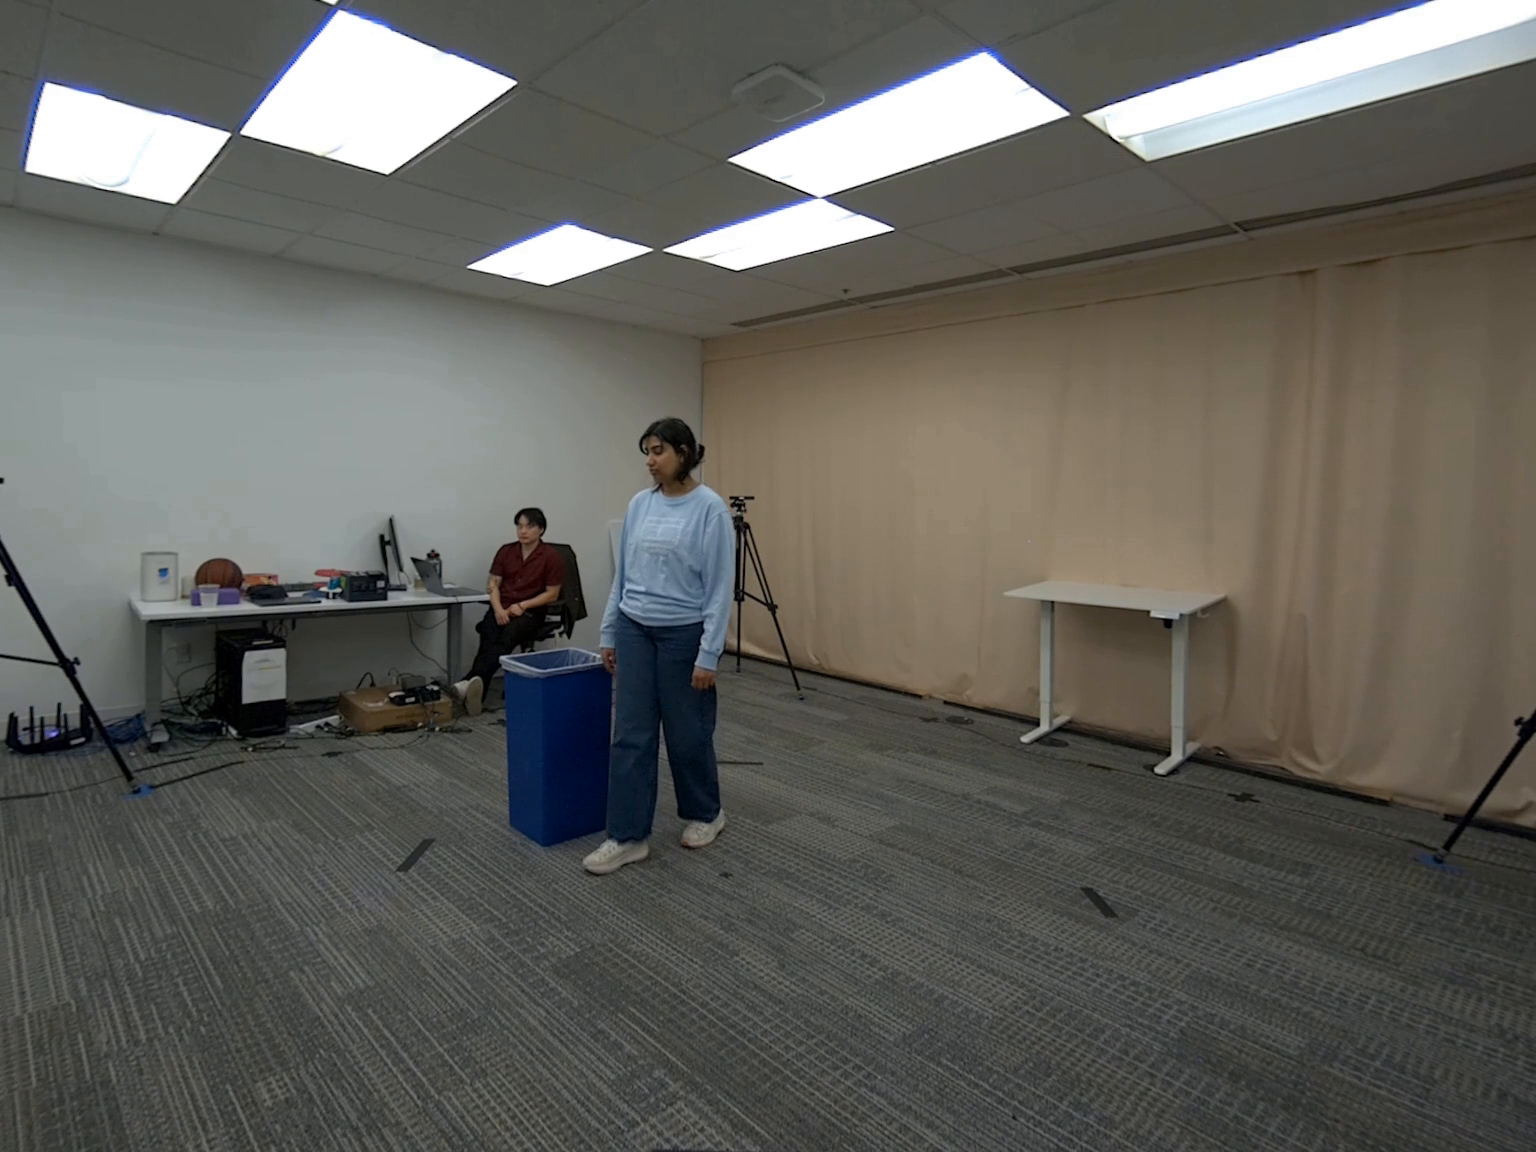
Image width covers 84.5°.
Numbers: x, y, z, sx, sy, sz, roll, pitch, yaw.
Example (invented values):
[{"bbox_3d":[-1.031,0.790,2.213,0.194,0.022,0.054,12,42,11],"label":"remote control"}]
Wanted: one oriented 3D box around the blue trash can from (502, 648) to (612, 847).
[{"bbox_3d":[-0.885,0.696,3.501,0.365,0.712,0.387,-2,4,-43],"label":"blue trash can"}]
